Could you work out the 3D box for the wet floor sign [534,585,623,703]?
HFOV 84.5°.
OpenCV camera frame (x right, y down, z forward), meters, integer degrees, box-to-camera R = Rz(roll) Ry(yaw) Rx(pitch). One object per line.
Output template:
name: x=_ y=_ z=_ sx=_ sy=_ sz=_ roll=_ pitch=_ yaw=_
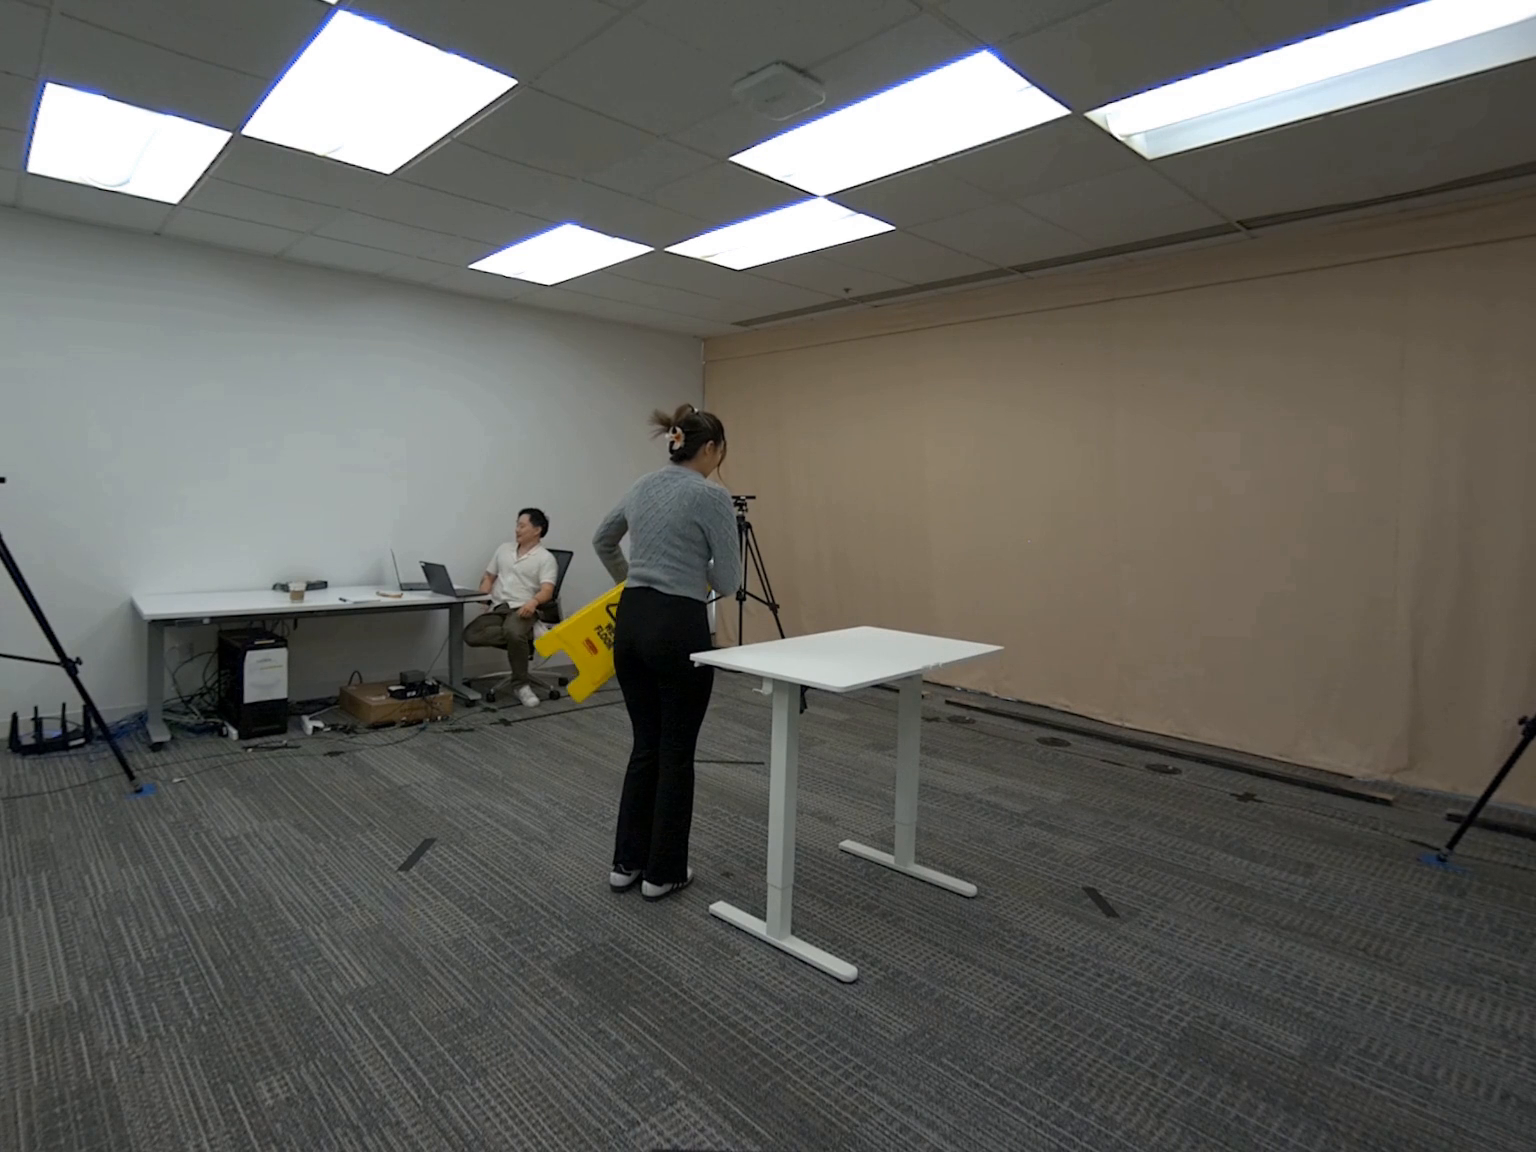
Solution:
wet floor sign: x=-0.511 y=0.157 z=3.182 sx=0.646 sy=0.282 sz=0.289 roll=-33 pitch=1 yaw=1
